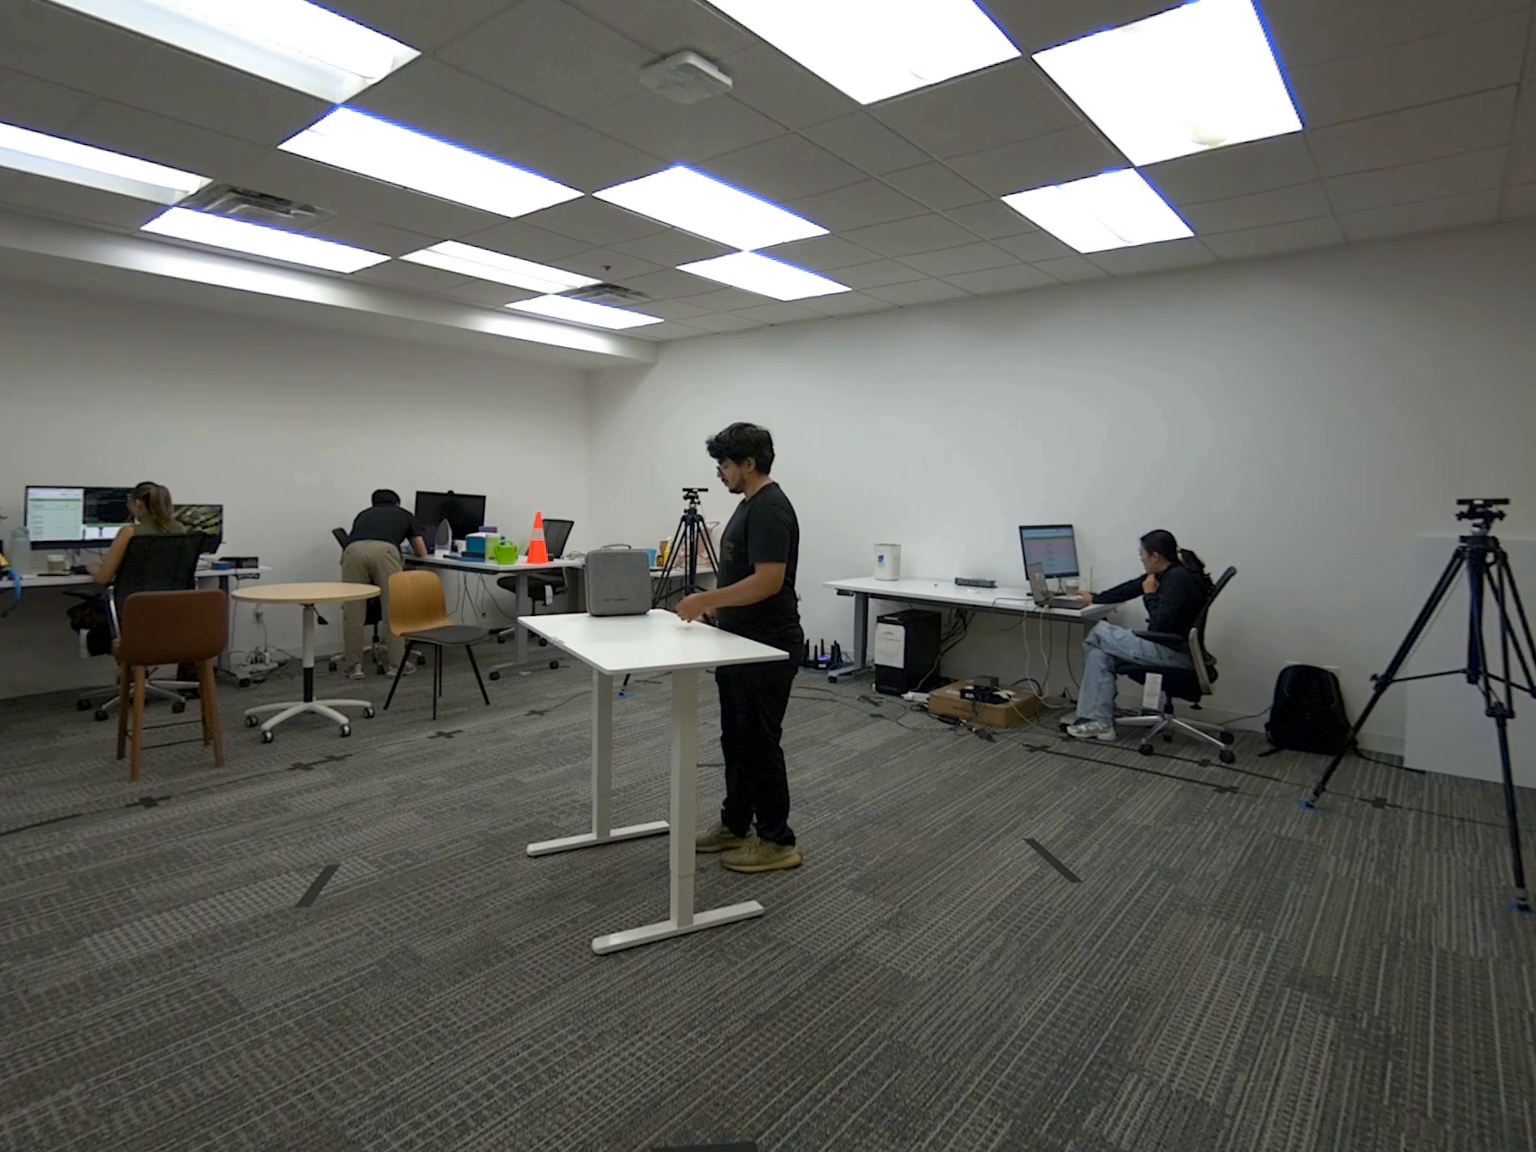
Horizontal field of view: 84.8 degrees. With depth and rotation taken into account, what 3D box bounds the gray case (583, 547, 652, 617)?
[{"bbox_3d":[-0.606,0.025,3.382,0.251,0.262,0.106,-2,-6,-23],"label":"gray case"}]
